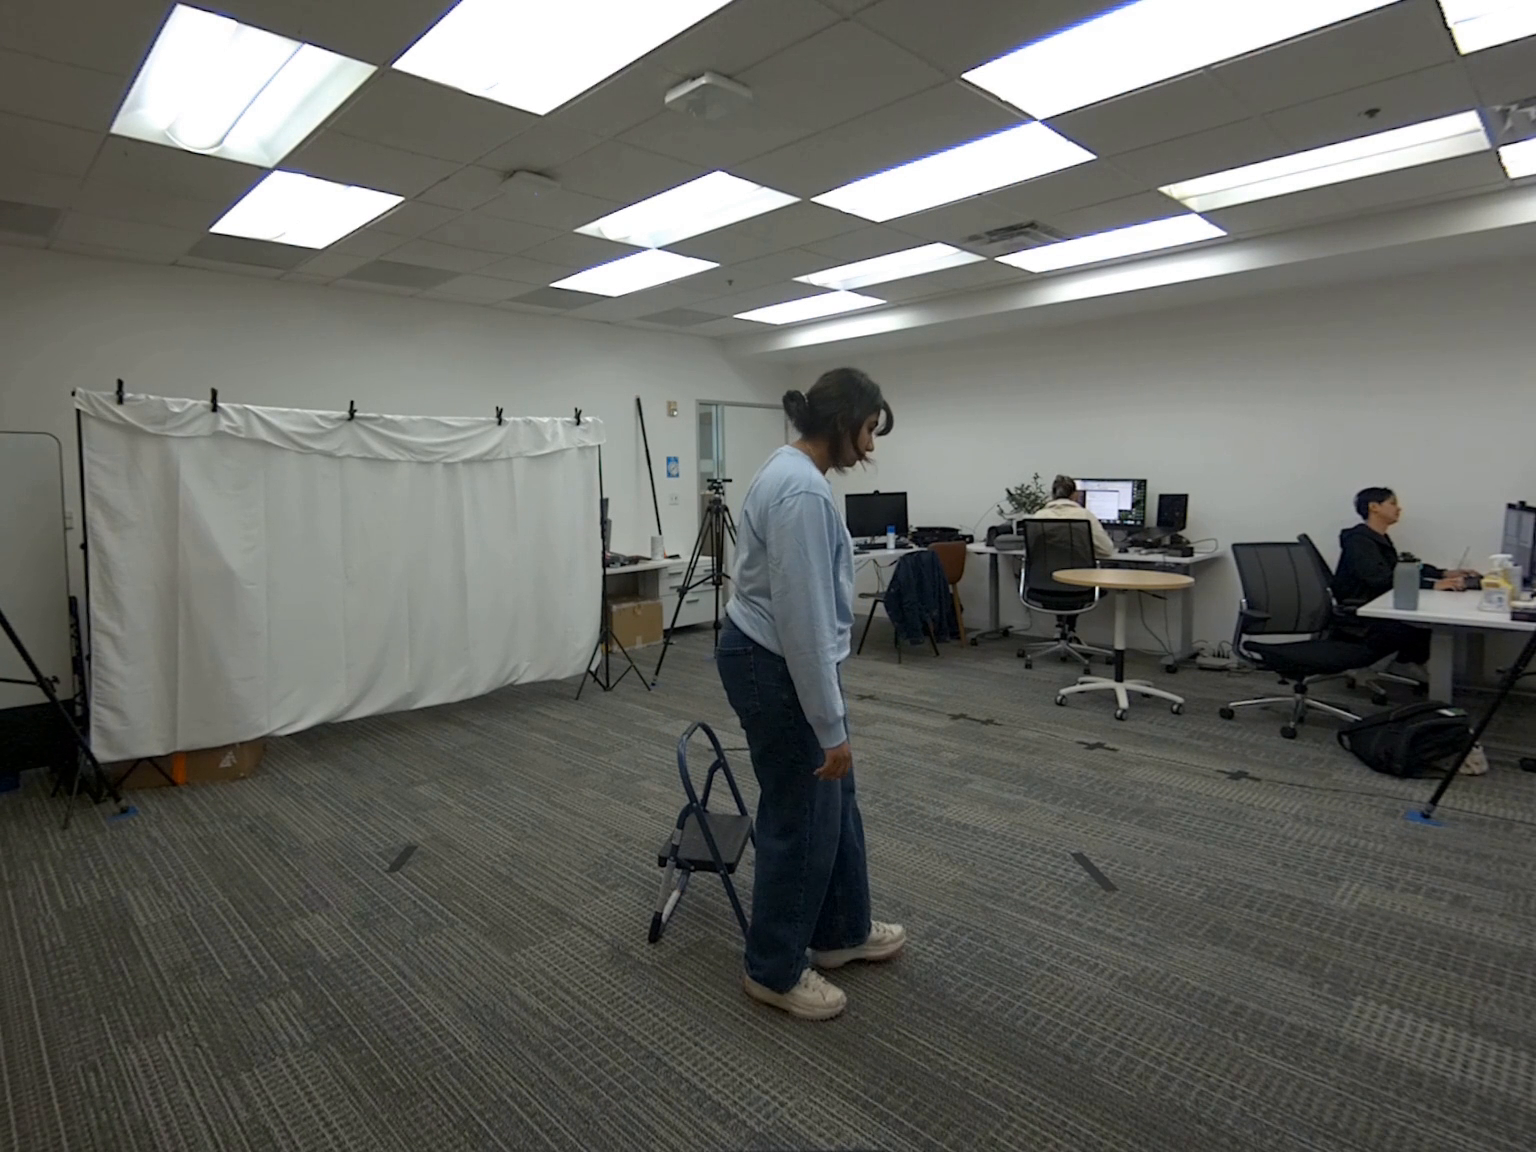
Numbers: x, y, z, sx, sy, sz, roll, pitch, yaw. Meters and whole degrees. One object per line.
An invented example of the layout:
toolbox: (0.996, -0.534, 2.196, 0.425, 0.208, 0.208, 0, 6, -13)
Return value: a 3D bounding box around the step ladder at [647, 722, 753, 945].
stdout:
step ladder: (-0.169, 0.789, 2.731, 0.353, 0.604, 0.428, 0, 5, 10)
